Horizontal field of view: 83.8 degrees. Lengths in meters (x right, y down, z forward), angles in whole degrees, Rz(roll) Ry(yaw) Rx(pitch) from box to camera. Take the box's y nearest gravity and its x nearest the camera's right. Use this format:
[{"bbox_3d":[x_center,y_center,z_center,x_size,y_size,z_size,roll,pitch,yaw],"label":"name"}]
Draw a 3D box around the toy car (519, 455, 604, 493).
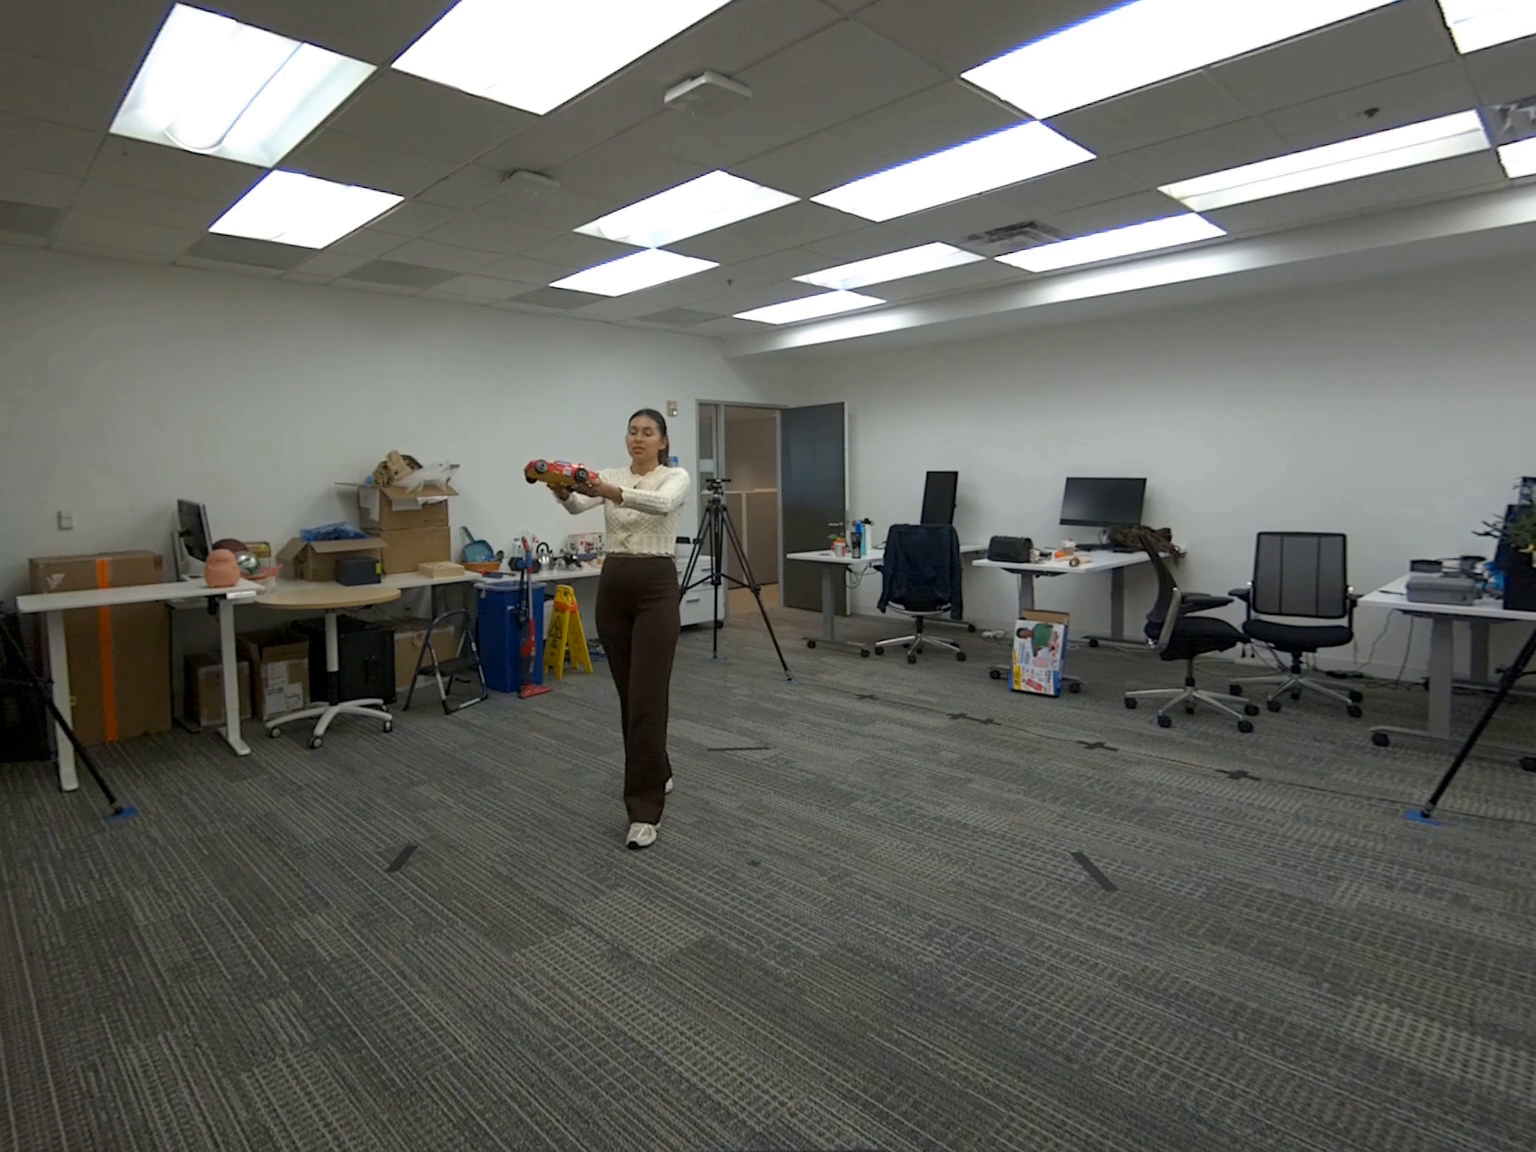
[{"bbox_3d":[-0.717,-0.353,2.978,0.248,0.084,0.132,-1,-13,-32],"label":"toy car"}]
